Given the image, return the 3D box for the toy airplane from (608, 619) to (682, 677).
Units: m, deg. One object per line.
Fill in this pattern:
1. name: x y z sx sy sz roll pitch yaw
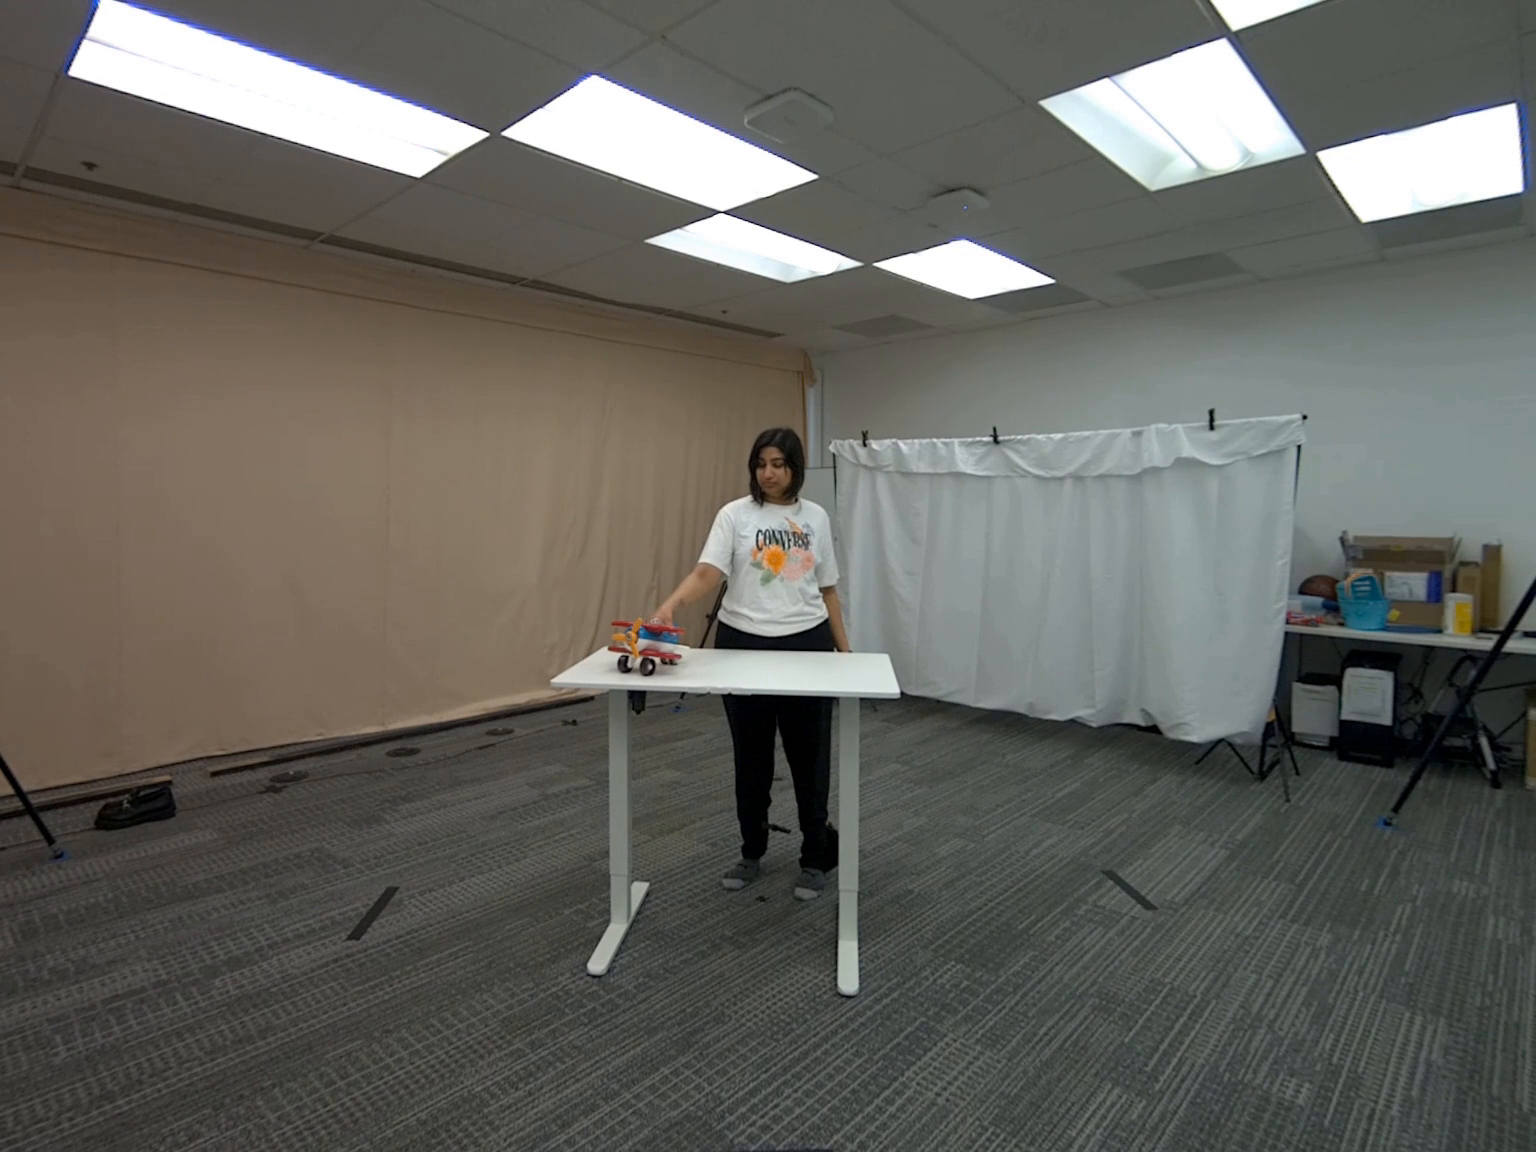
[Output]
1. toy airplane: -0.380 0.215 2.631 0.252 0.156 0.259 1 6 2
